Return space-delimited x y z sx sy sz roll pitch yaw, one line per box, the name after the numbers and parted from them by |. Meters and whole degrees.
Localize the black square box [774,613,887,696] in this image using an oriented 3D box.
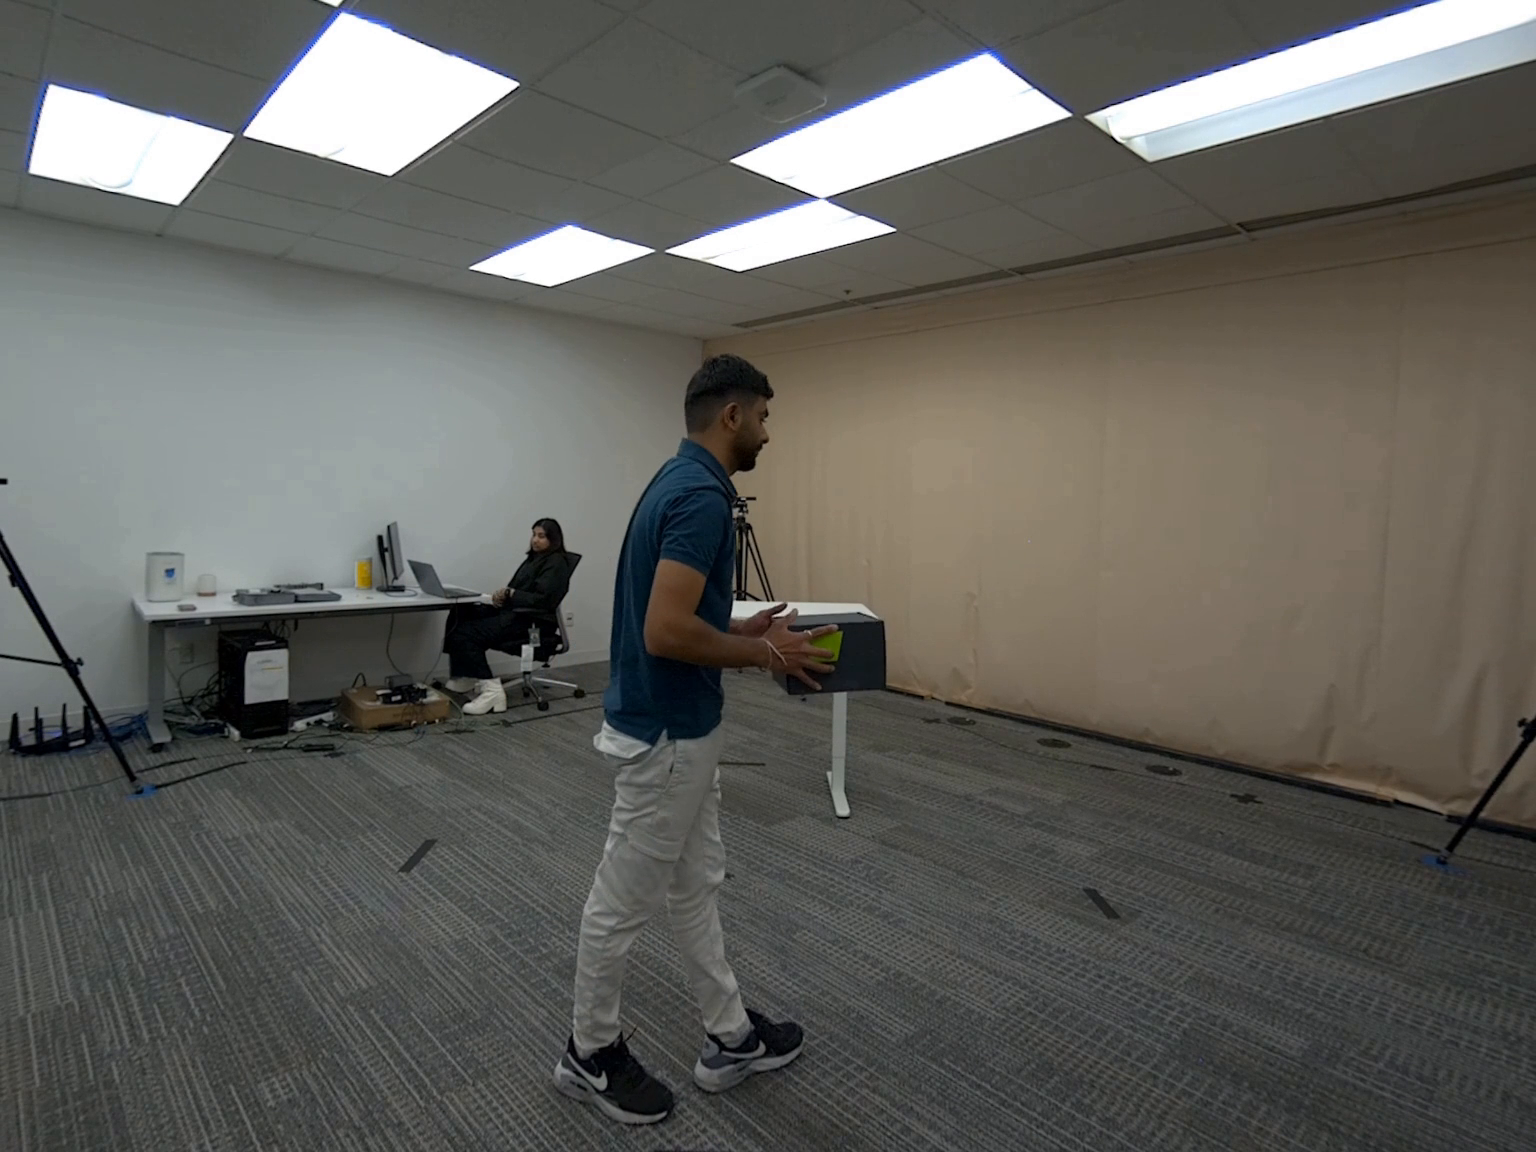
0.135 0.177 1.964 0.226 0.155 0.219 -2 3 -9 | black square box
